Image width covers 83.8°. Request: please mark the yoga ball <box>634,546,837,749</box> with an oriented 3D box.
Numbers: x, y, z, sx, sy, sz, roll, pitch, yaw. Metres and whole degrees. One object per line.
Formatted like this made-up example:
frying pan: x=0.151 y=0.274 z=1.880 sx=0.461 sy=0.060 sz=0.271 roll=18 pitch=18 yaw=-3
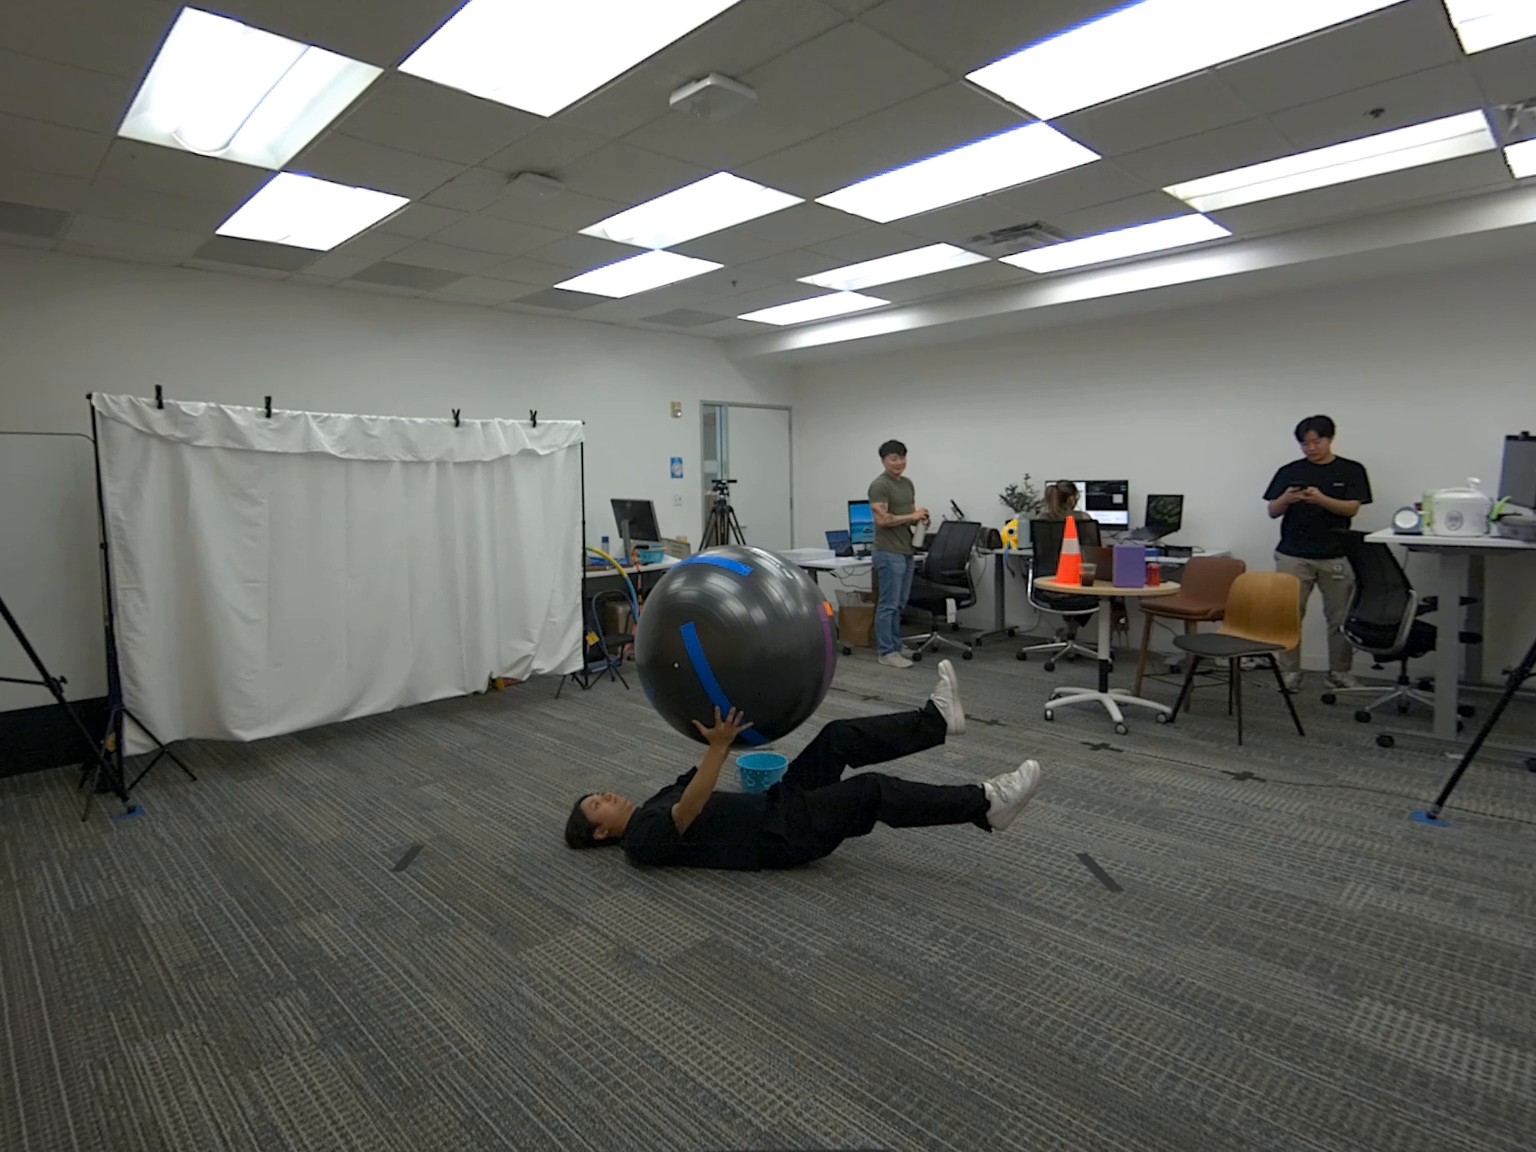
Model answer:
yoga ball: x=-0.126 y=0.268 z=3.211 sx=0.757 sy=0.755 sz=0.762 roll=-1 pitch=5 yaw=-2
